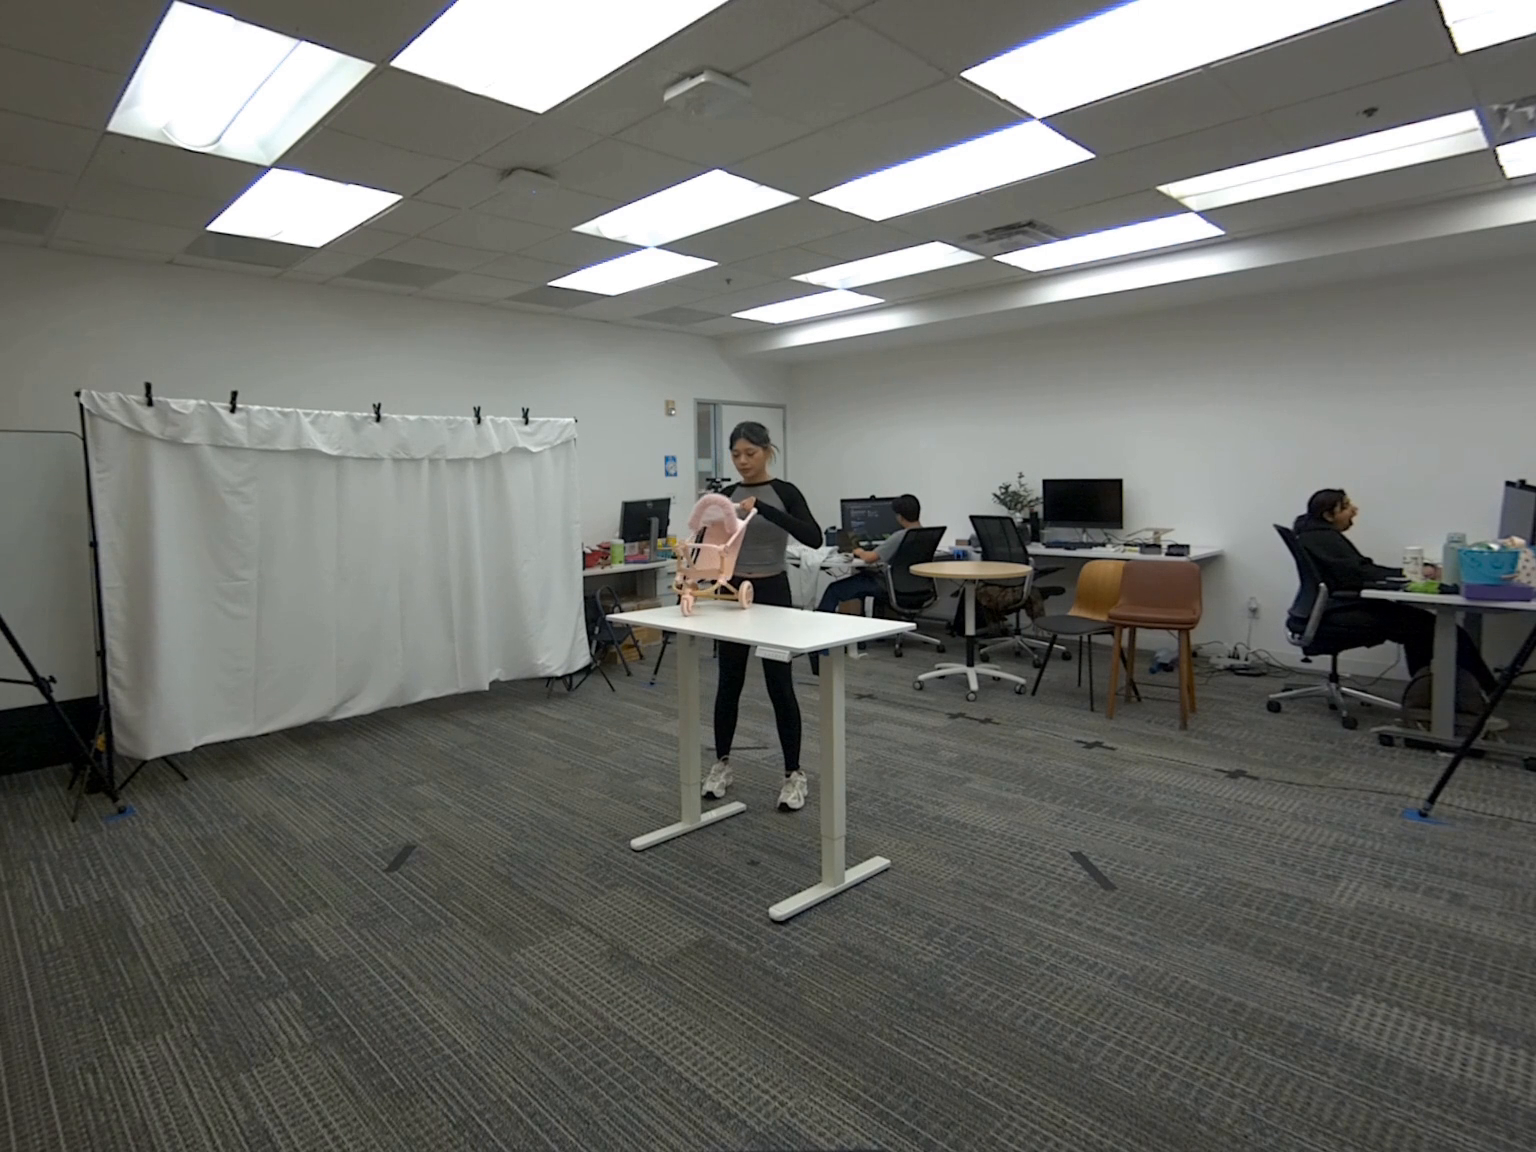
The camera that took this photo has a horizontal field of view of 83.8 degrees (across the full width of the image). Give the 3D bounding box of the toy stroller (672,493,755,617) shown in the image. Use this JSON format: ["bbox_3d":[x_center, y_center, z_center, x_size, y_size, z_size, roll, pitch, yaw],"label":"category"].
[{"bbox_3d":[-0.228,-0.087,3.380,0.288,0.540,0.329,0,-13,29],"label":"toy stroller"}]
